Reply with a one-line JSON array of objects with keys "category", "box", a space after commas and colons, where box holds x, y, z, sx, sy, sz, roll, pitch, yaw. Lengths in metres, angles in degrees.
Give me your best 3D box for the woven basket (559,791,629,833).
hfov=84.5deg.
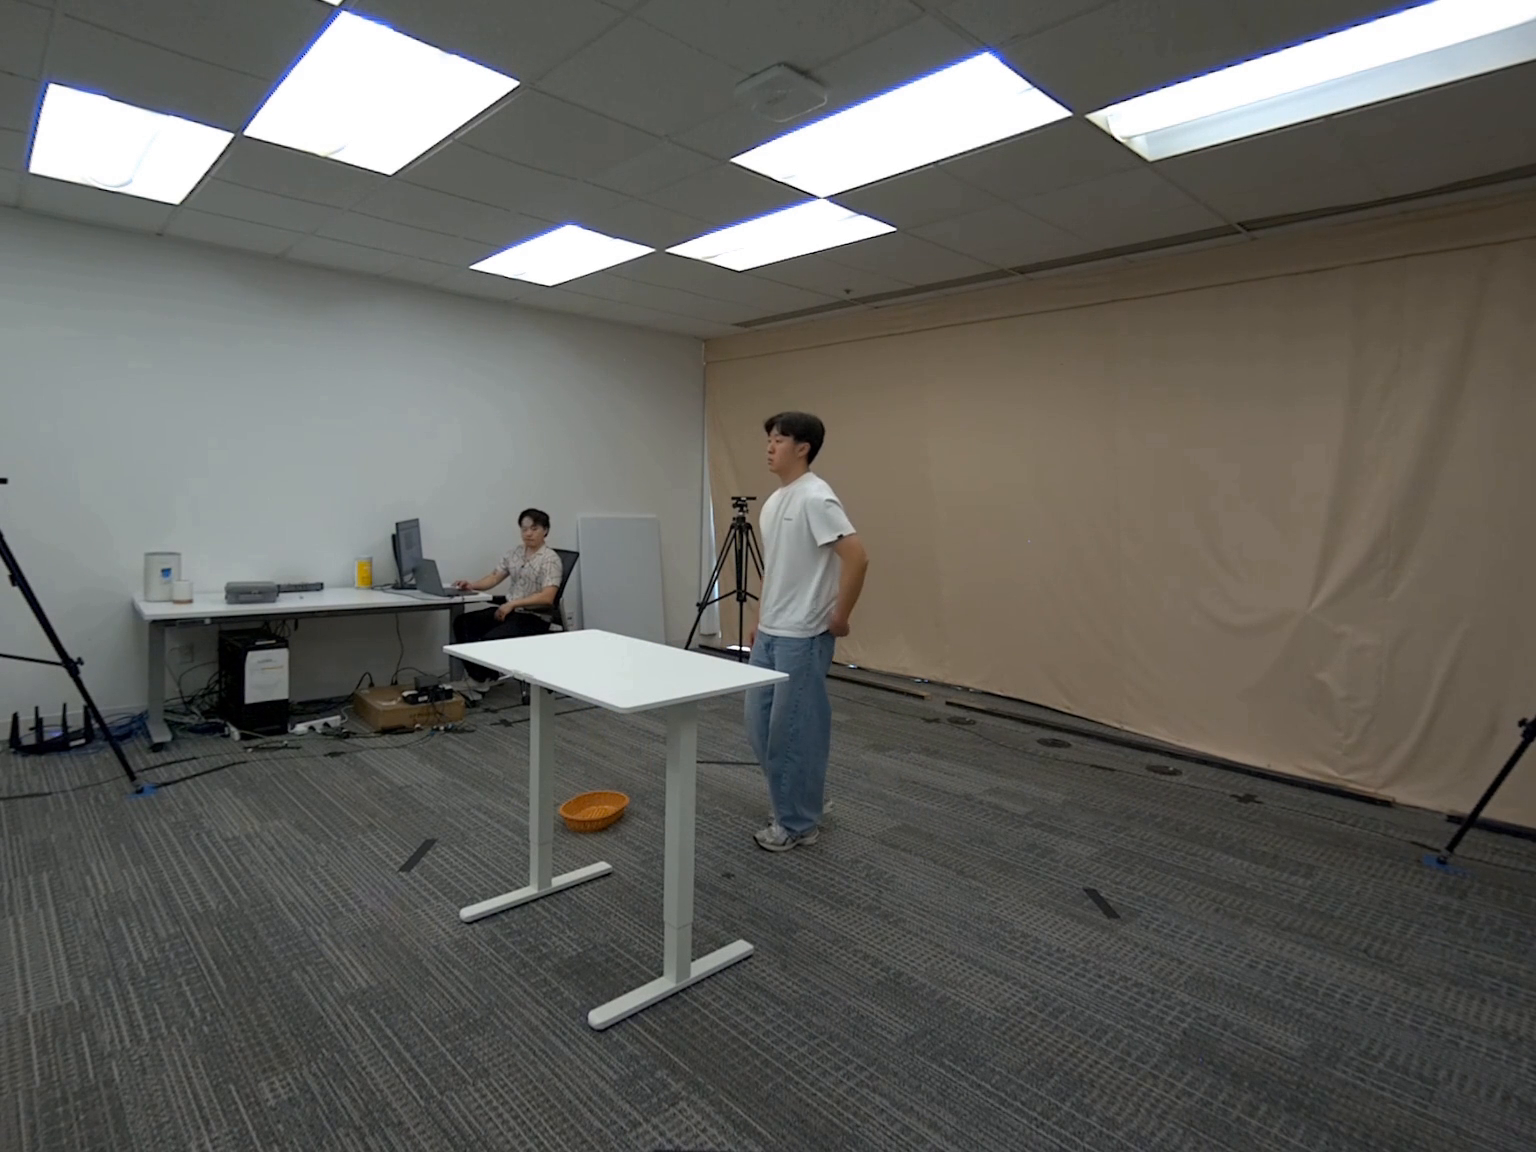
[{"category": "woven basket", "box": [-0.743, 0.998, 3.600, 0.257, 0.073, 0.345, 2, 5, 23]}]
